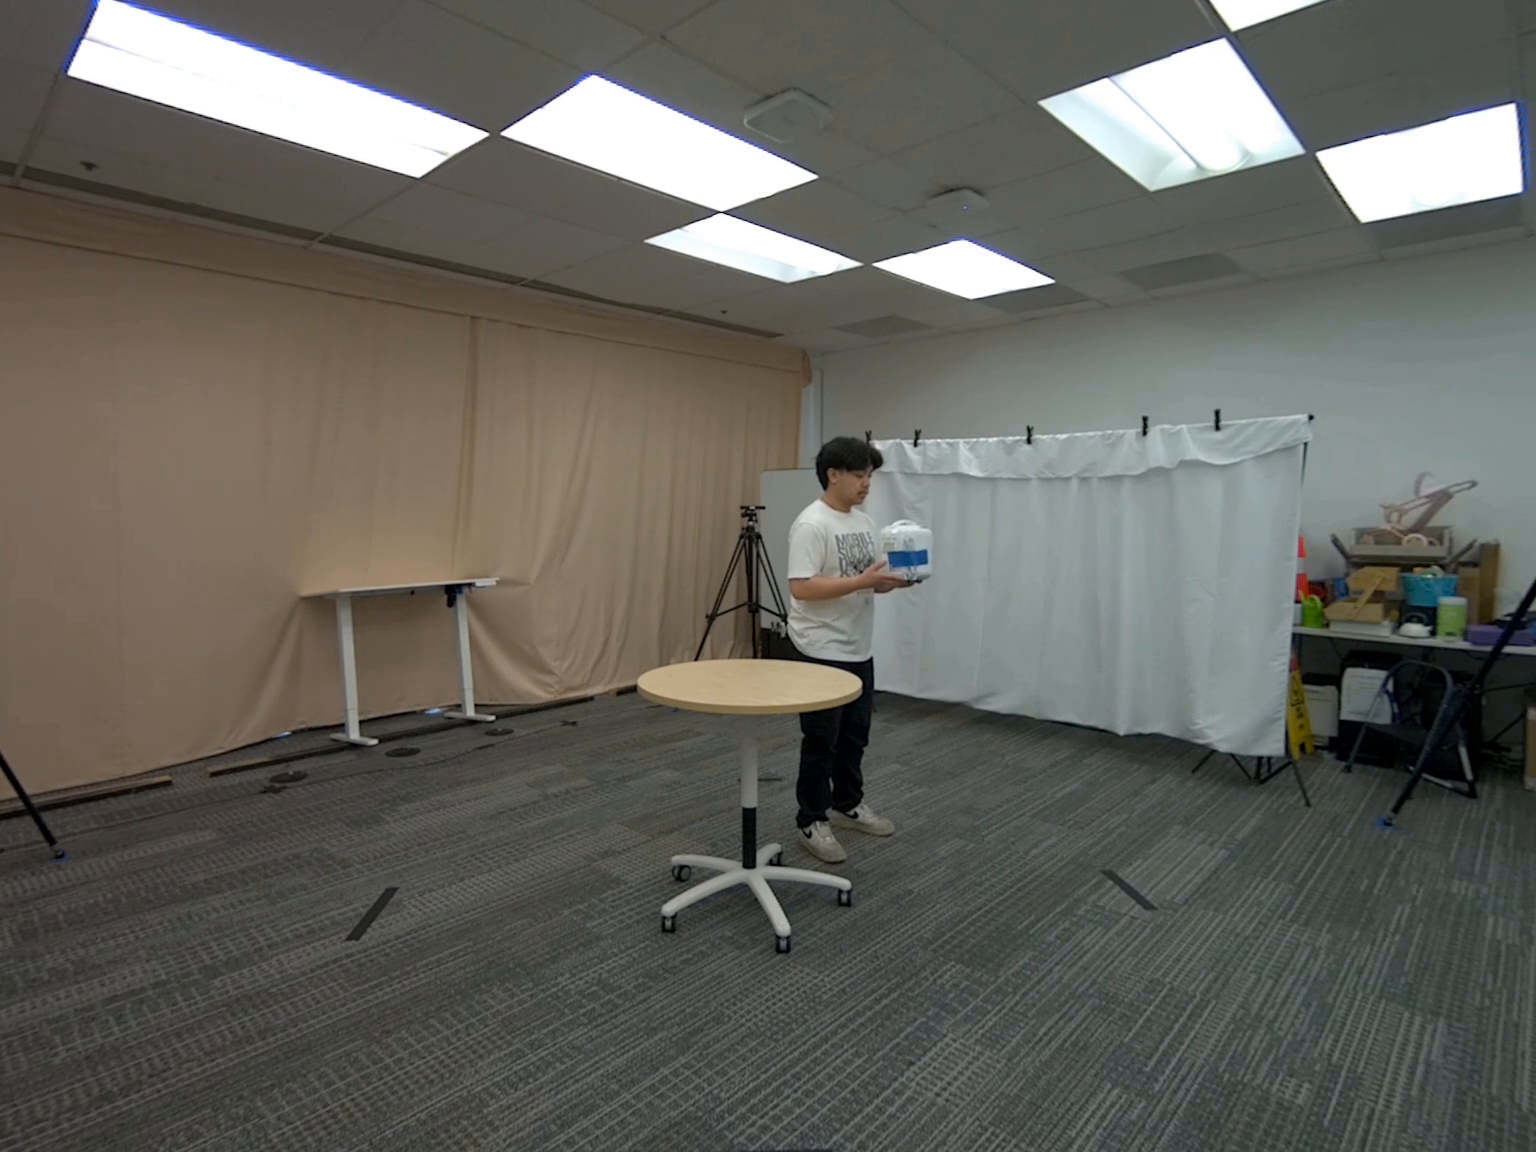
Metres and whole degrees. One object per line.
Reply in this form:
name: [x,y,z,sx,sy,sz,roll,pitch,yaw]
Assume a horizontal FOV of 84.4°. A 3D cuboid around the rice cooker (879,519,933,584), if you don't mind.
rice cooker: [0.525,-0.099,3.267,0.213,0.233,0.224,1,-1,-44]
